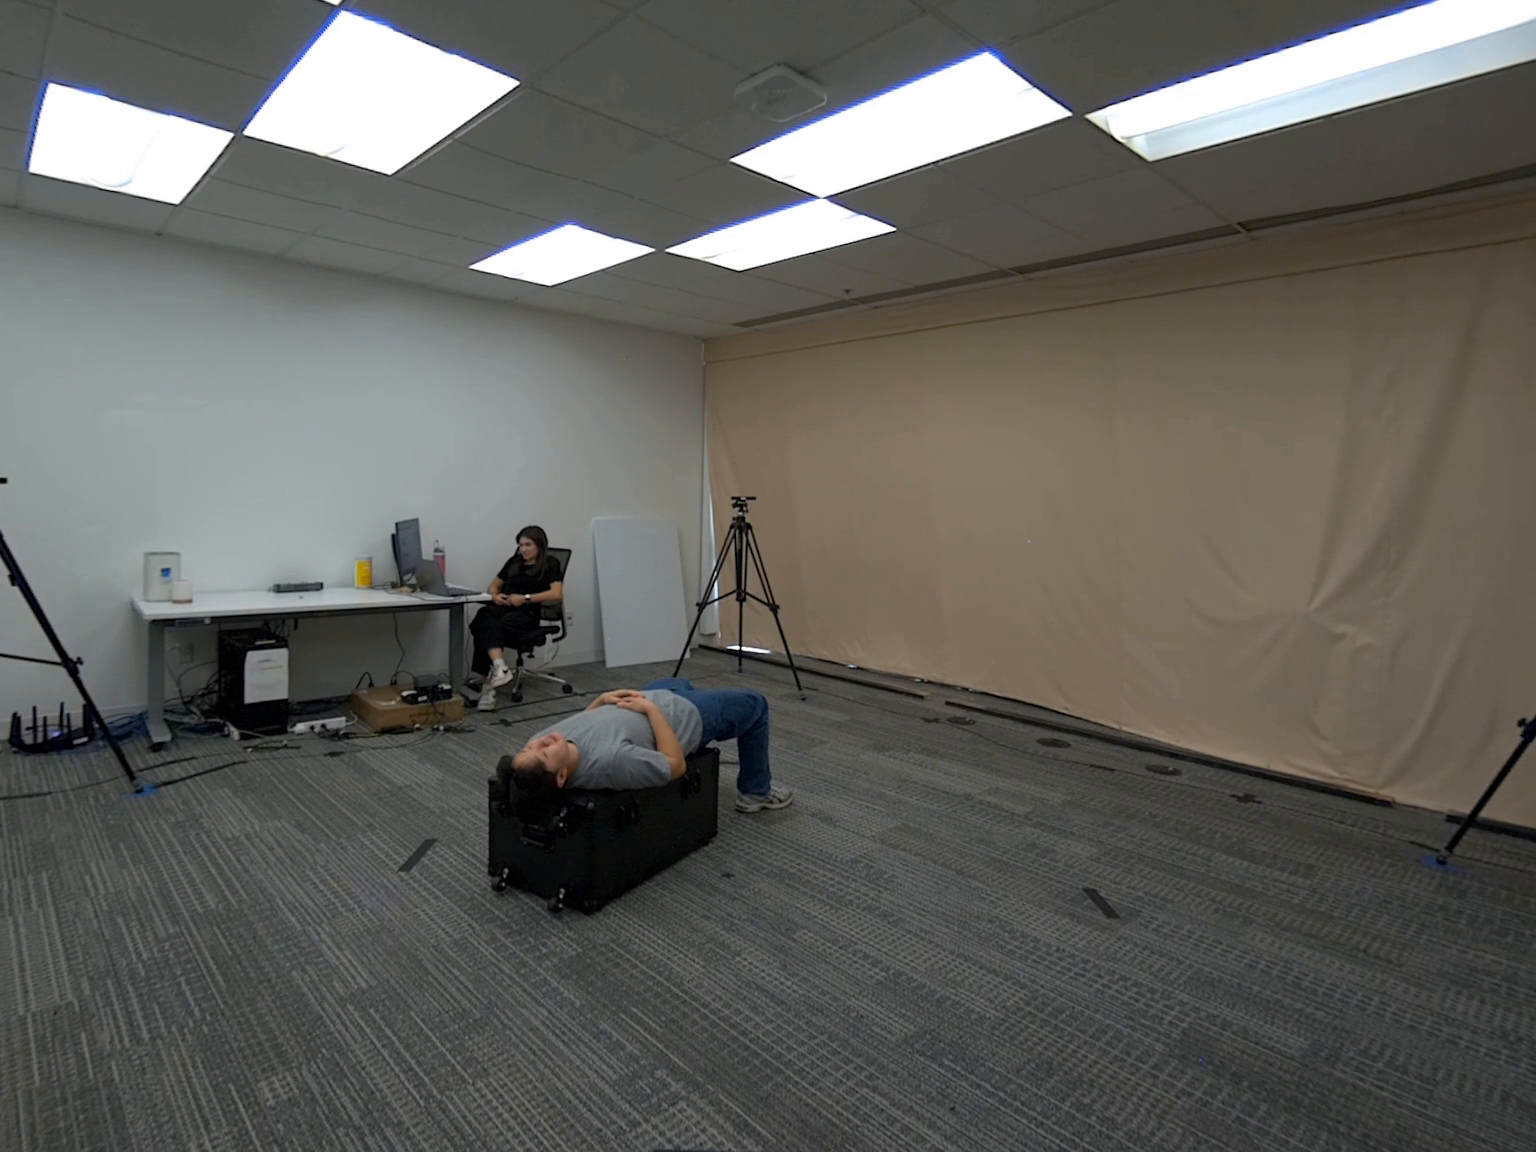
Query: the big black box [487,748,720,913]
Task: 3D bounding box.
[{"bbox_3d":[-0.623,0.906,3.181,0.533,0.395,0.845,5,6,30],"label":"big black box"}]
